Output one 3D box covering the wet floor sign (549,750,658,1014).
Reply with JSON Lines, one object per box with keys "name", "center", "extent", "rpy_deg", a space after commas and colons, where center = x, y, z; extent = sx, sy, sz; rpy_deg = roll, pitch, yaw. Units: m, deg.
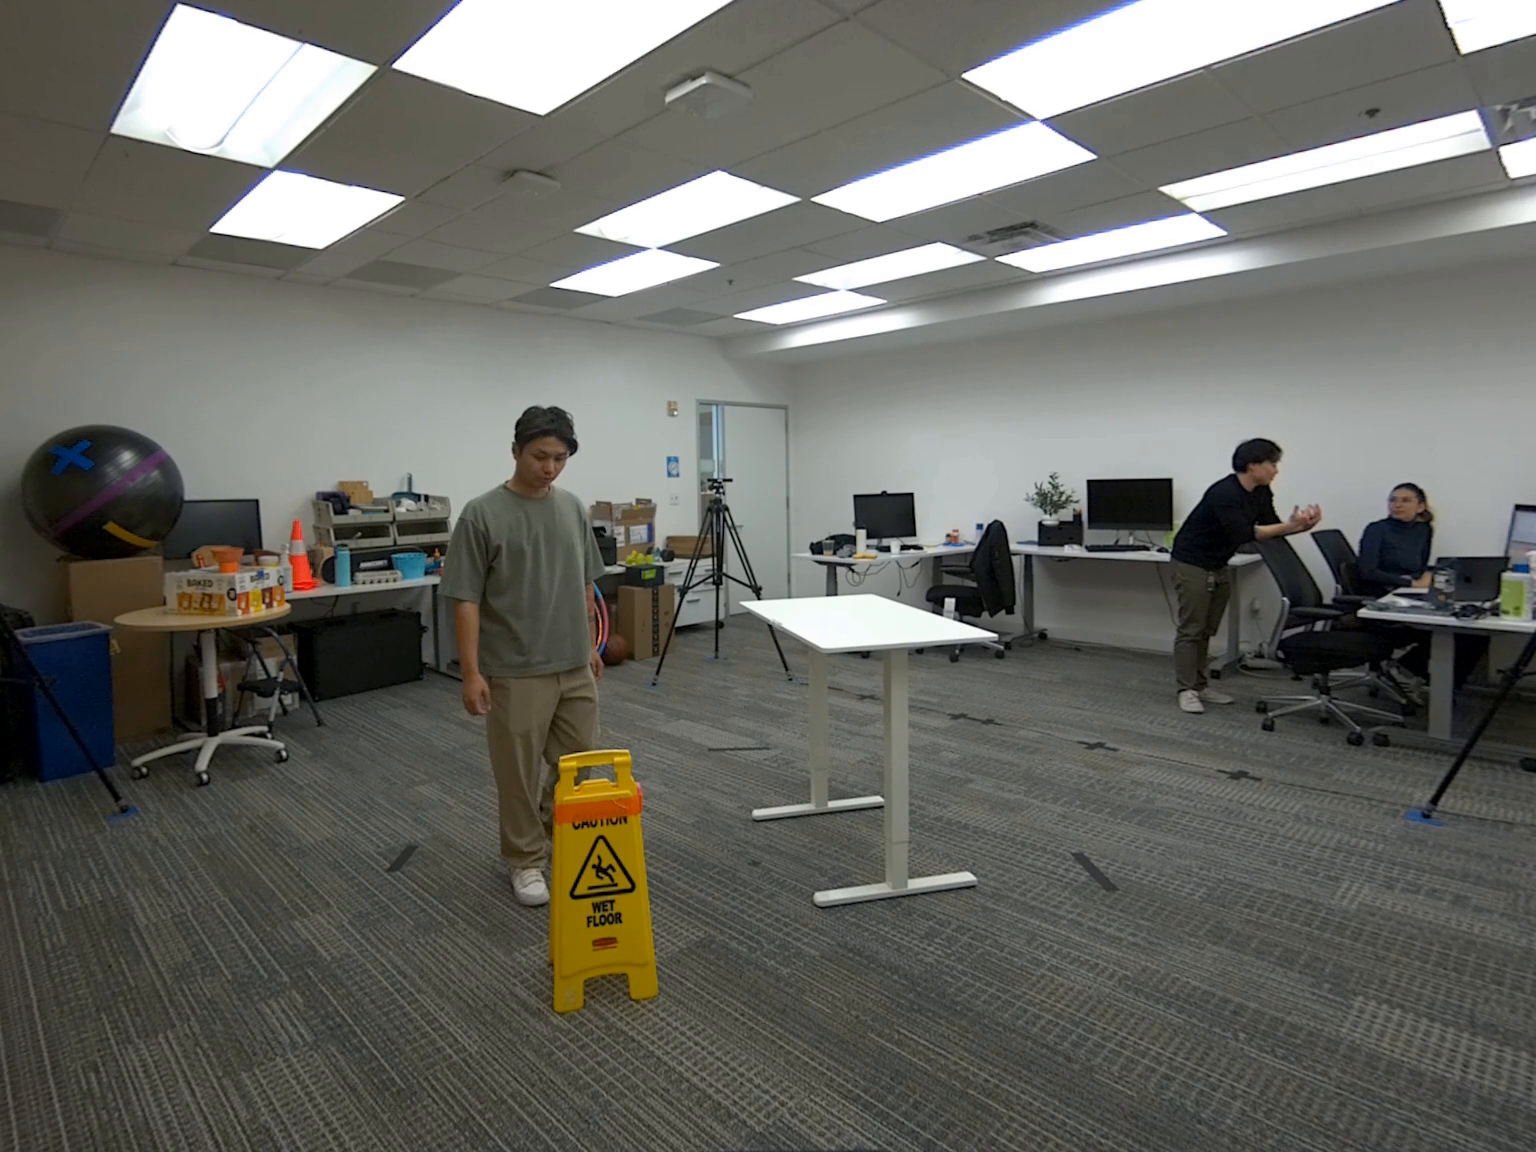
{"name": "wet floor sign", "center": [-0.470, 0.812, 2.382], "extent": [0.278, 0.643, 0.295], "rpy_deg": [-3, 5, -15]}
